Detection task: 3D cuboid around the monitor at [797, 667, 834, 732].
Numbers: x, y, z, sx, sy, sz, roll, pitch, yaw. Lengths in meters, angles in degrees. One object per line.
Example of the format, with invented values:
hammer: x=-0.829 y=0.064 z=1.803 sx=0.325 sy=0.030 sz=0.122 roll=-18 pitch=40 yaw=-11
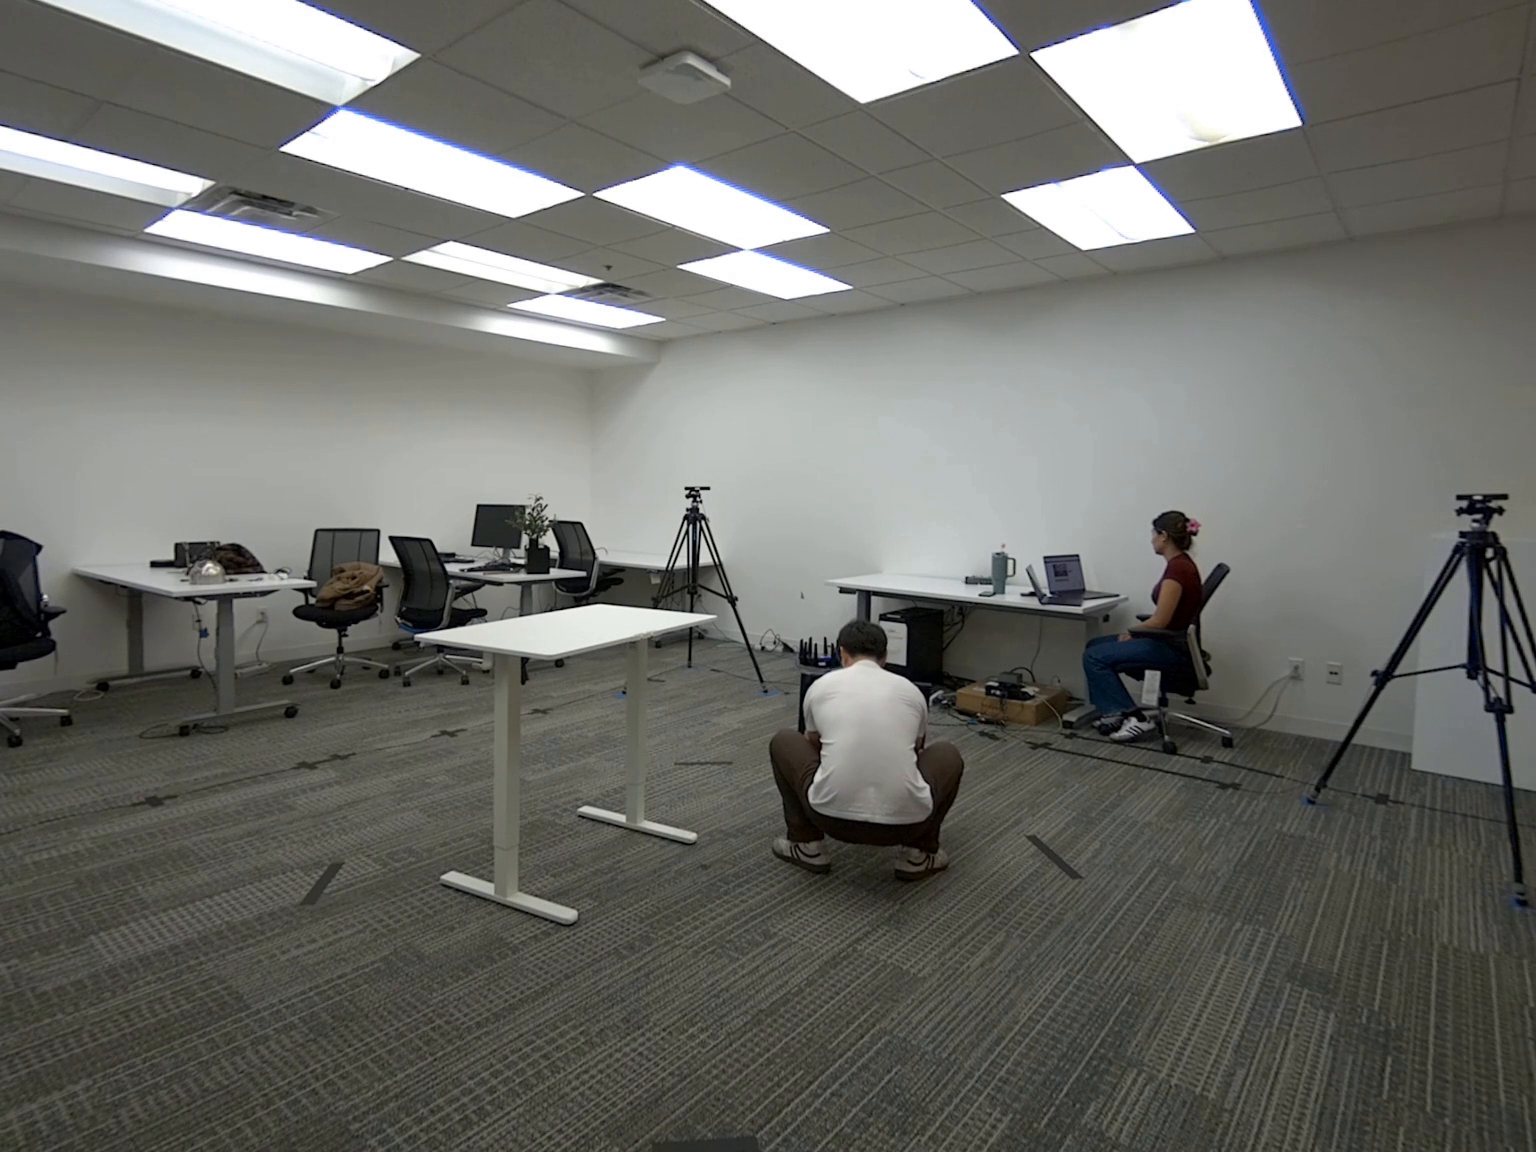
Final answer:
monitor: x=0.382 y=0.670 z=3.556 sx=0.543 sy=0.520 sz=0.187 roll=5 pitch=6 yaw=6
